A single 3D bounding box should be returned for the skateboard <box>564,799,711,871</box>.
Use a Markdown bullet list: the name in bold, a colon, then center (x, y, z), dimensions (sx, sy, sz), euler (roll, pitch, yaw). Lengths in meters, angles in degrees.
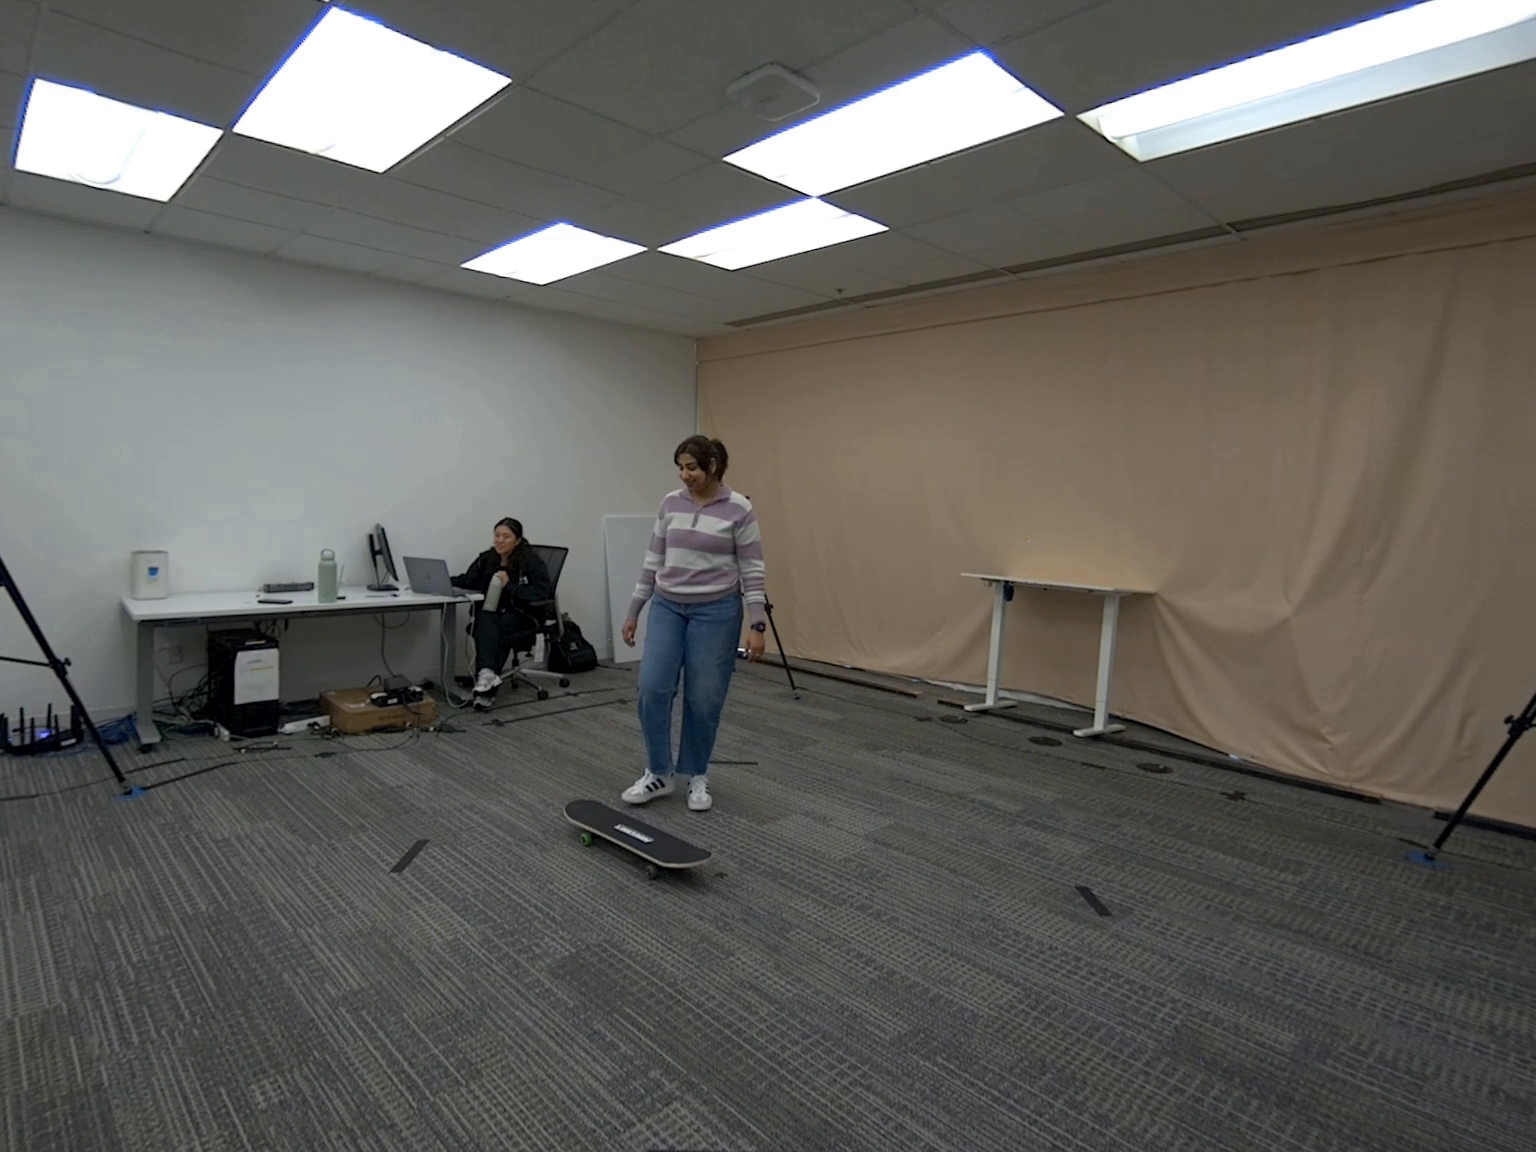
- **skateboard**: center (-0.528, 1.026, 3.260), dimensions (0.806, 0.110, 0.189), euler (7, 7, 43)
